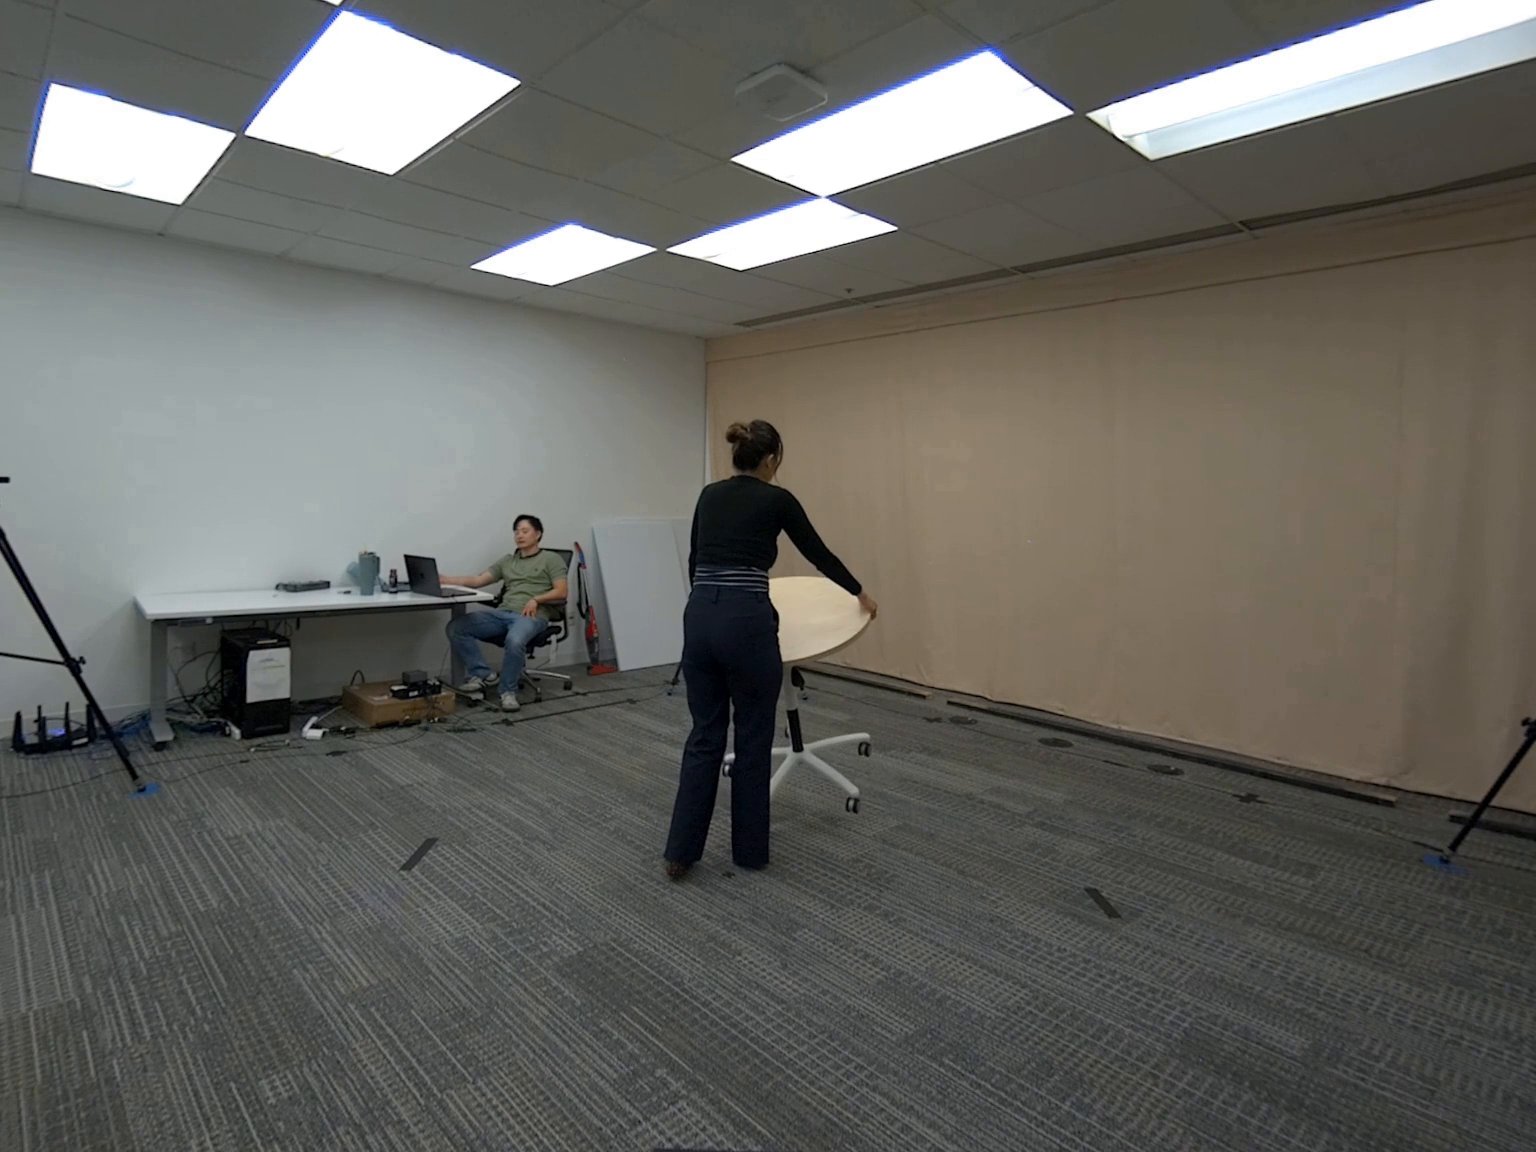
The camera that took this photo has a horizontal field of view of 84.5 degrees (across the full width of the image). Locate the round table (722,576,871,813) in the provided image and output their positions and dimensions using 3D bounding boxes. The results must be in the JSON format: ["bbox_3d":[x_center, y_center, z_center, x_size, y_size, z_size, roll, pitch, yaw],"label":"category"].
[{"bbox_3d":[0.087,0.533,3.620,0.765,0.780,0.776,-8,21,2],"label":"round table"}]
